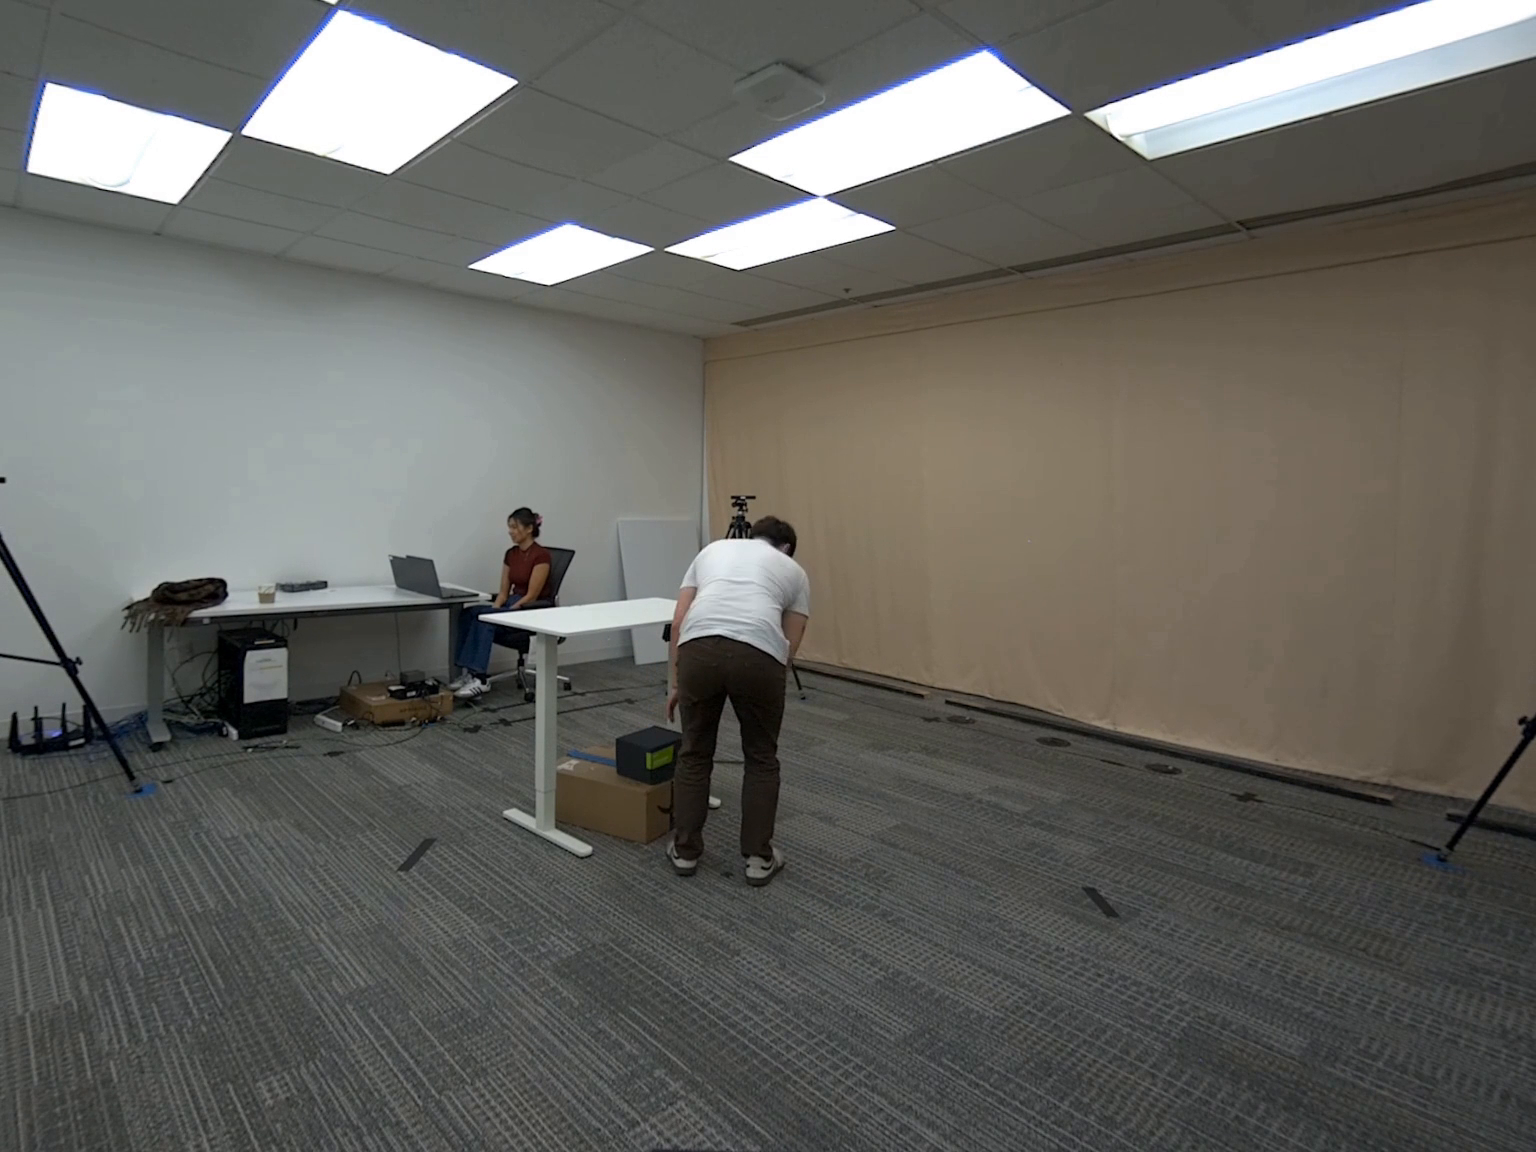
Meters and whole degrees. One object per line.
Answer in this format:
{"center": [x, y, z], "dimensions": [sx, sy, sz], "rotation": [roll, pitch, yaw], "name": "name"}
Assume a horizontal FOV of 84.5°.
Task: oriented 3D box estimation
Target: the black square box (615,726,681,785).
{"center": [-0.497, 0.750, 3.551], "dimensions": [0.222, 0.155, 0.223], "rotation": [5, 8, 38], "name": "black square box"}
